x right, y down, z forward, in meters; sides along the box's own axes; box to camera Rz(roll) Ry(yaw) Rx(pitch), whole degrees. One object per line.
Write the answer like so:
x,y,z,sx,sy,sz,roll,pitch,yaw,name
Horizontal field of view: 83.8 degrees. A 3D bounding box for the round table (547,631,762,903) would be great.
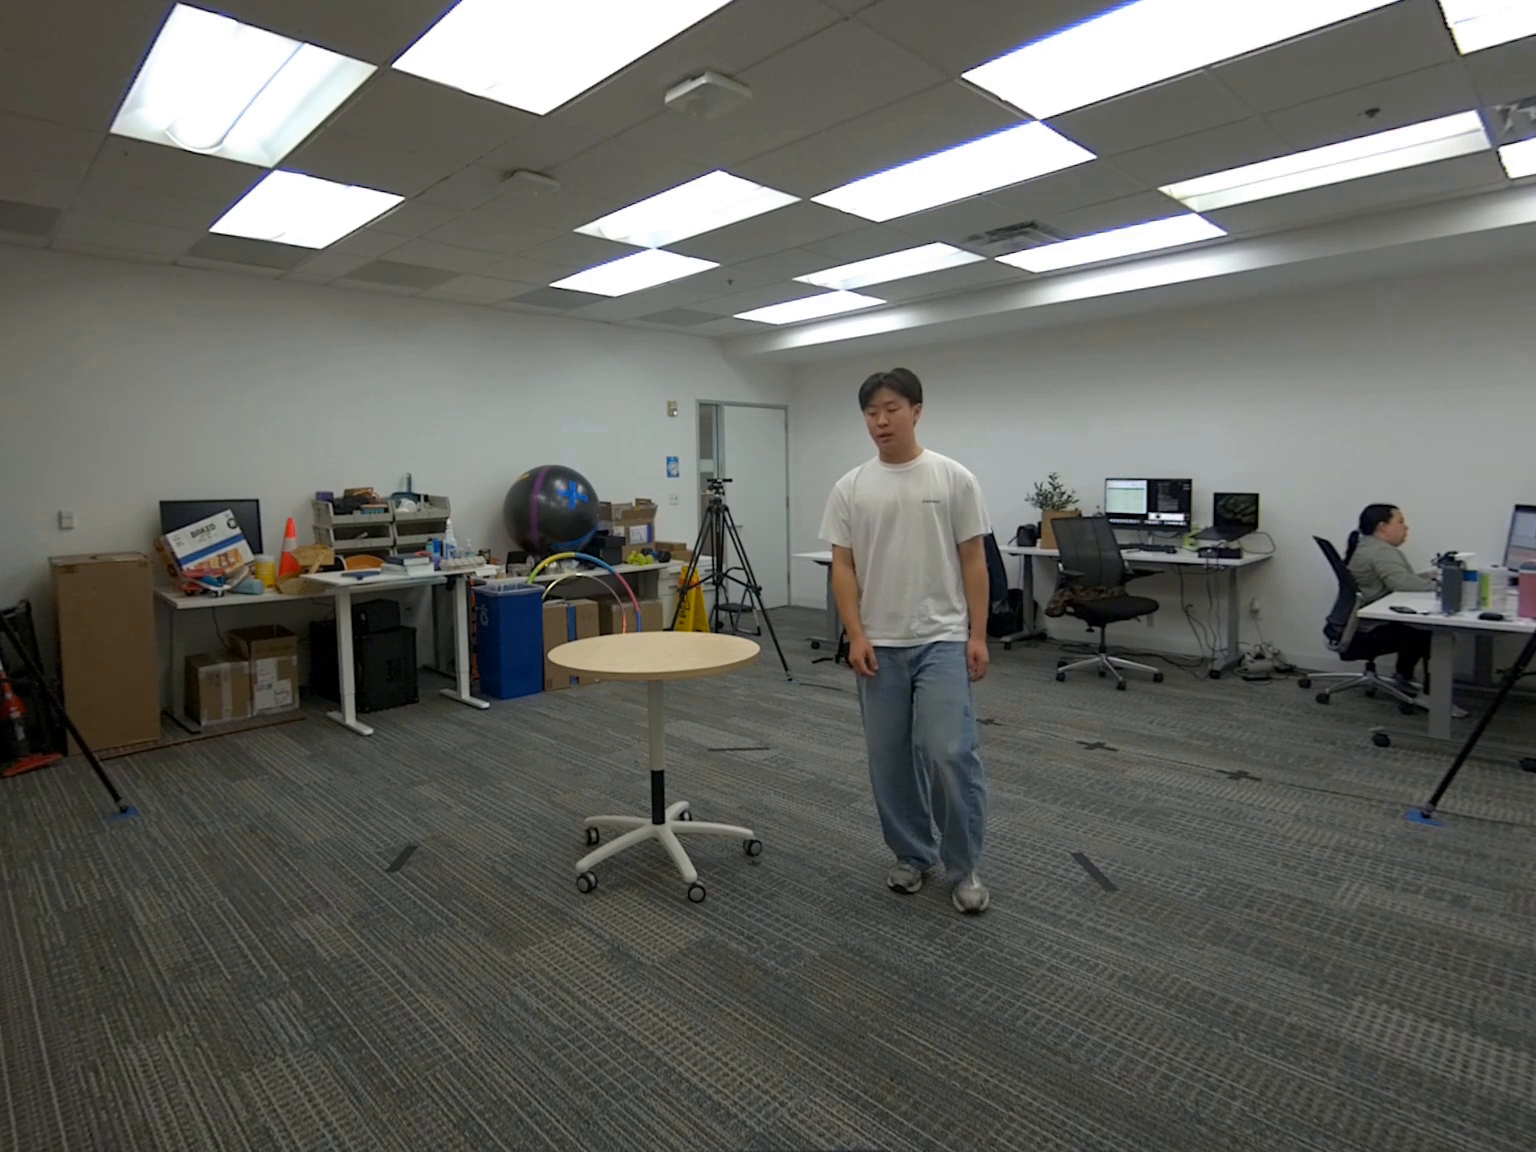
-0.401,0.660,3.131,0.763,0.791,0.768,-1,5,-2,round table
